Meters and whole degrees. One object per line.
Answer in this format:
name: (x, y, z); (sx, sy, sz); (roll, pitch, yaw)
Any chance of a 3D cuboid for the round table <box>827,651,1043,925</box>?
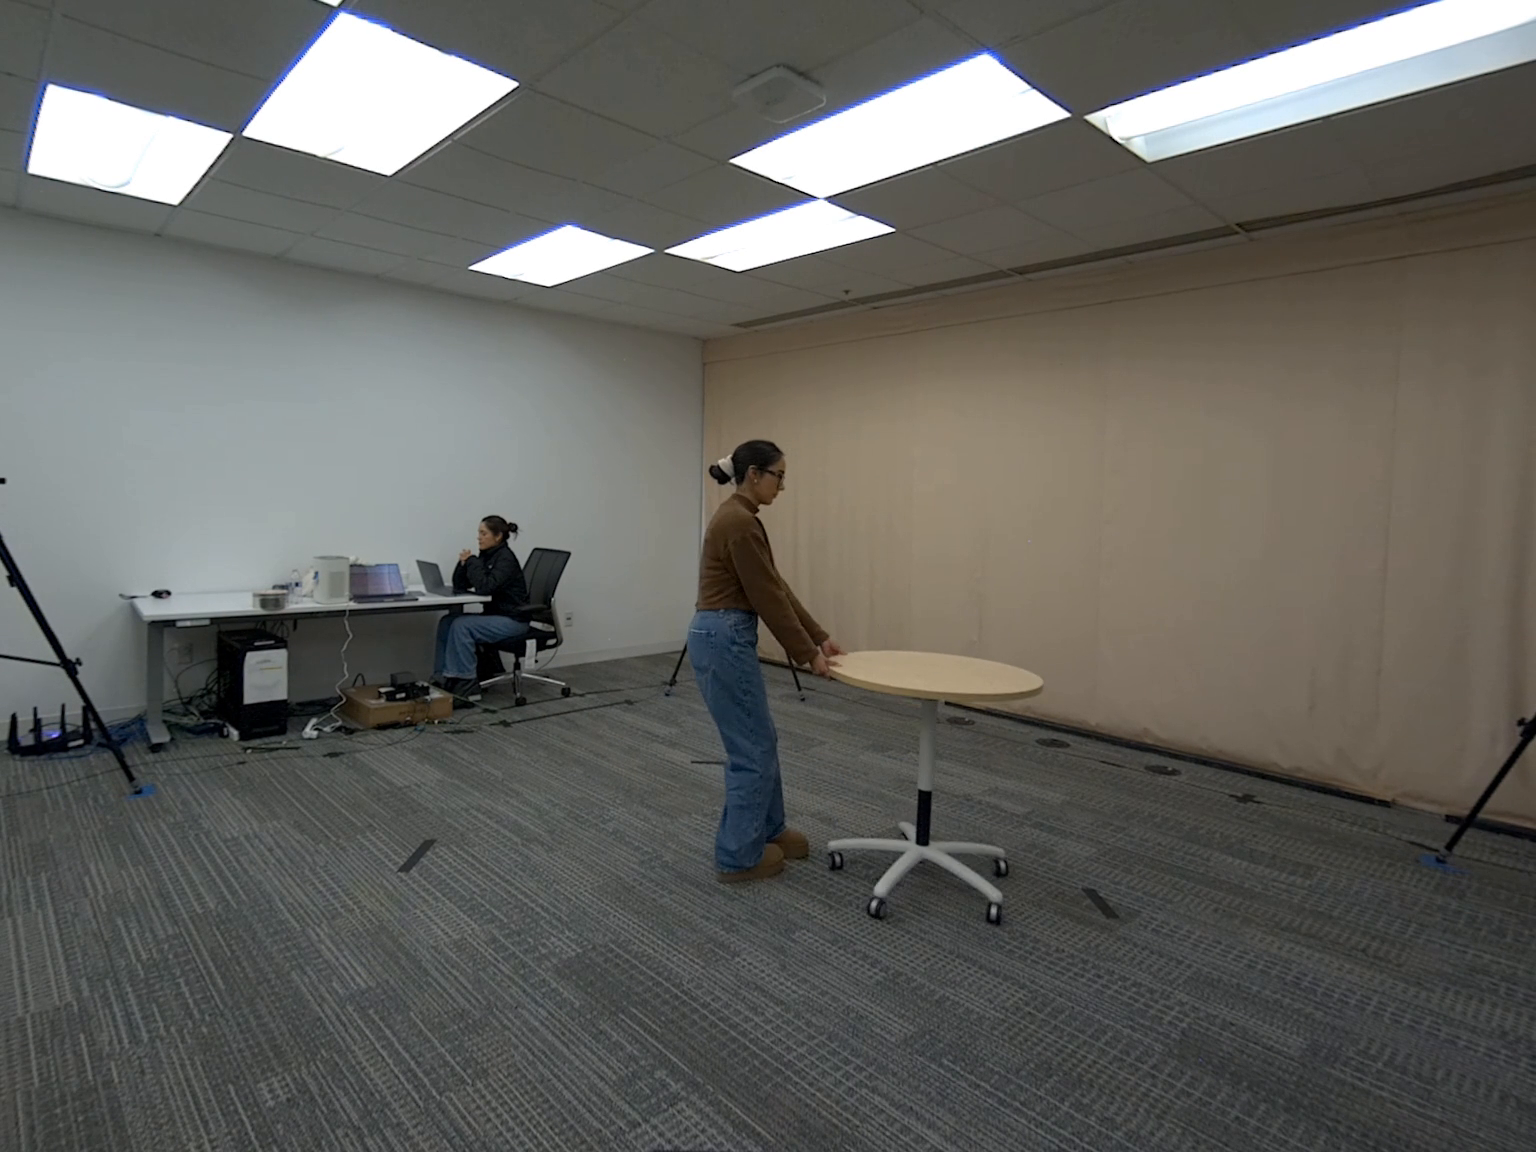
round table: (0.532, 0.730, 3.068); (0.784, 0.785, 0.787); (2, 3, -2)
